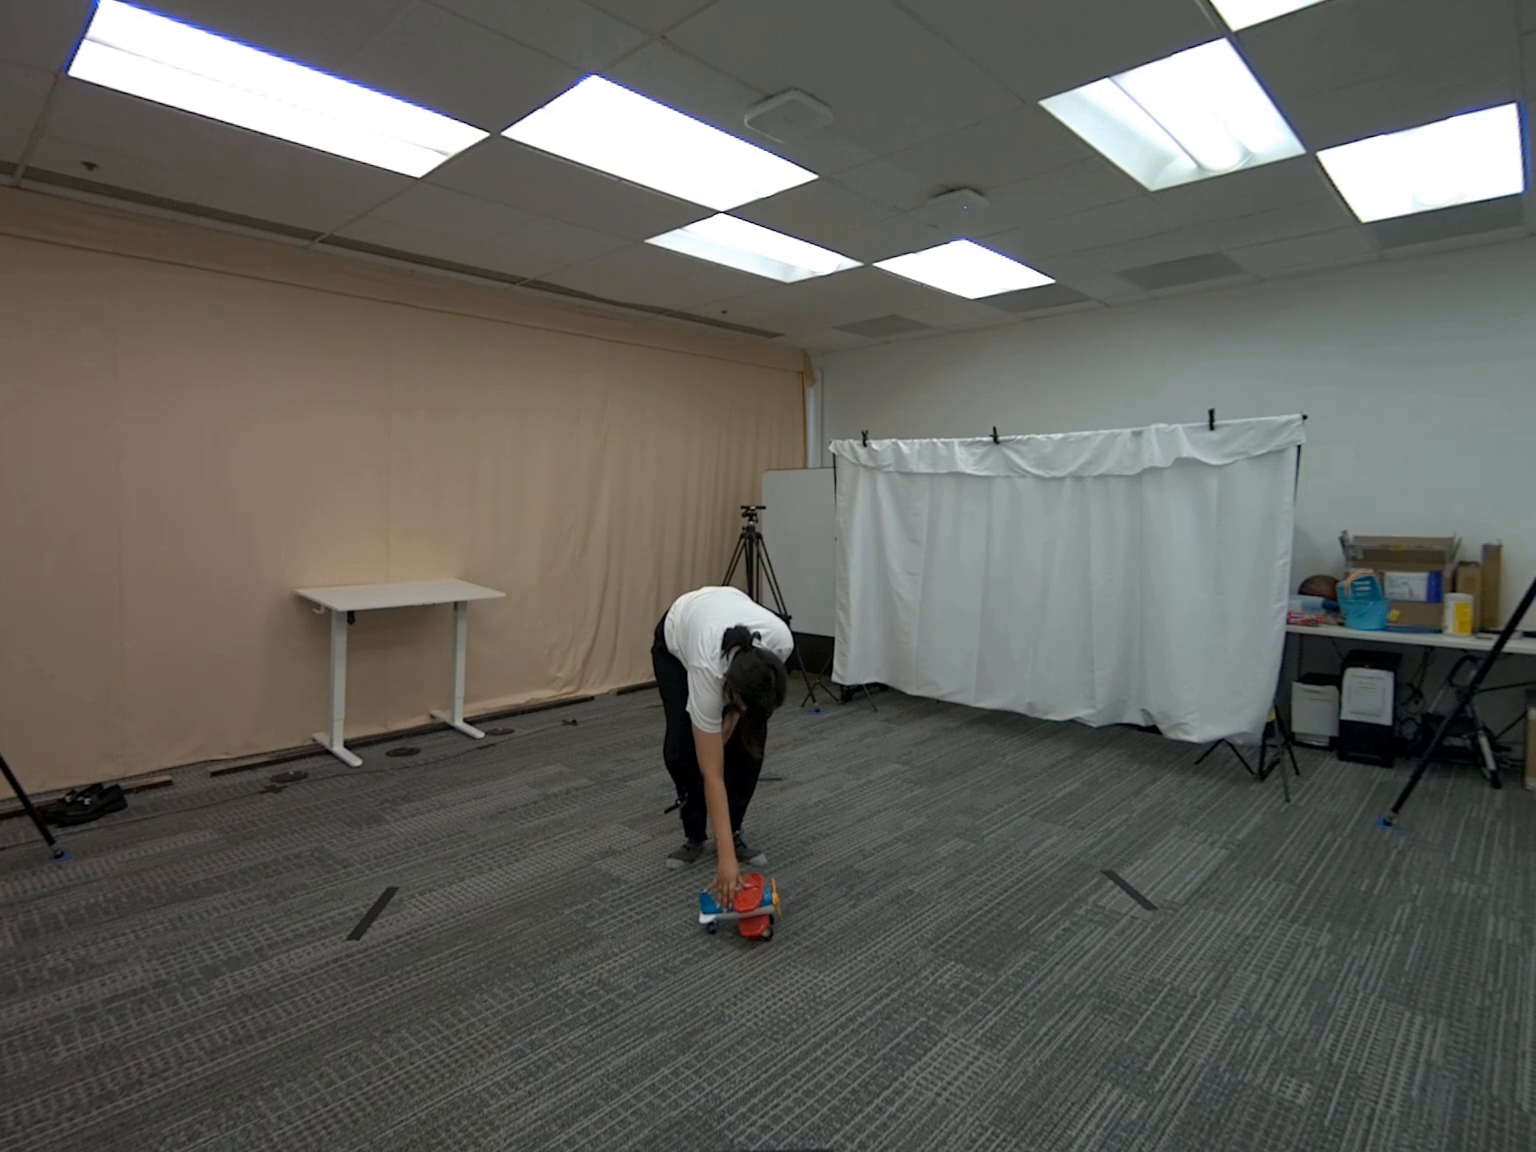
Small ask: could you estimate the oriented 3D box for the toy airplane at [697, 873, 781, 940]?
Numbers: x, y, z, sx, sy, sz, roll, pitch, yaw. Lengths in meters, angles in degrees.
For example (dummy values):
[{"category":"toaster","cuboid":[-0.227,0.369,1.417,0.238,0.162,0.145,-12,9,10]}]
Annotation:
[{"category":"toy airplane","cuboid":[-0.086,1.094,2.723,0.253,0.156,0.258,-1,6,-24]}]
